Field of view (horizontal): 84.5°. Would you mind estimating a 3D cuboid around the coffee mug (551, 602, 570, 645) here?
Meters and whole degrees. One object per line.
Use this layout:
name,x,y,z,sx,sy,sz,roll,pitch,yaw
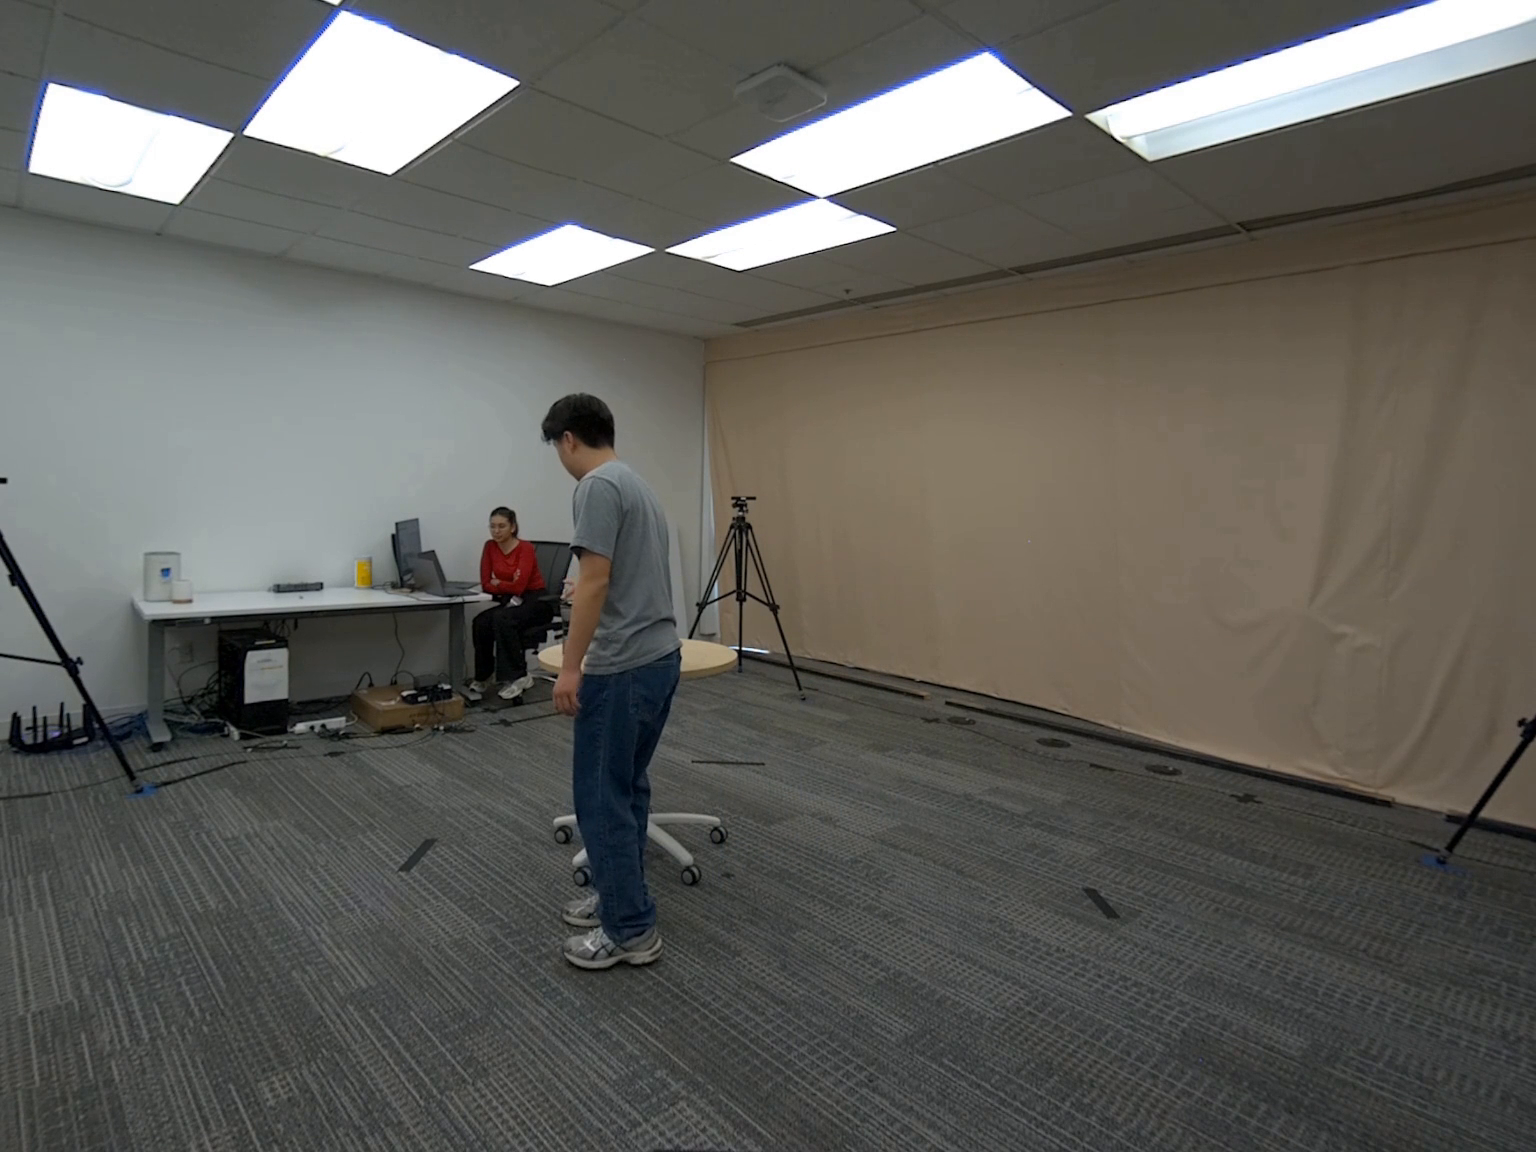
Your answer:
coffee mug,-0.733,0.202,3.224,0.089,0.202,0.120,1,5,21
